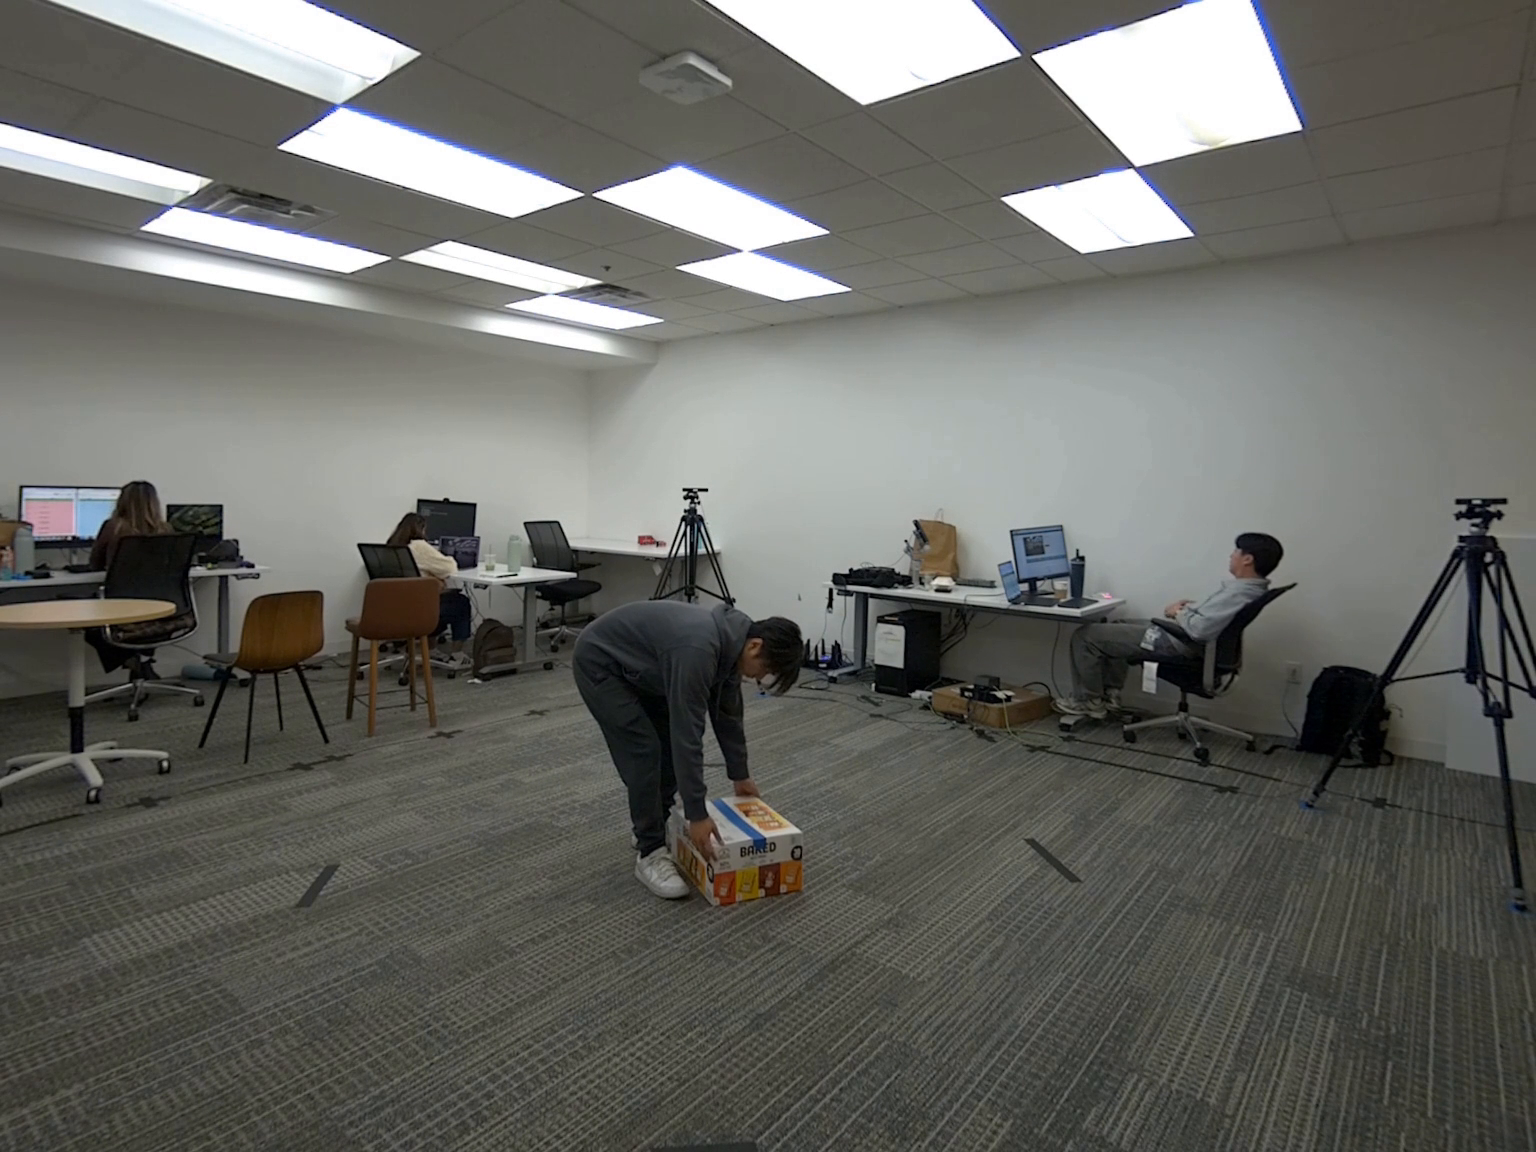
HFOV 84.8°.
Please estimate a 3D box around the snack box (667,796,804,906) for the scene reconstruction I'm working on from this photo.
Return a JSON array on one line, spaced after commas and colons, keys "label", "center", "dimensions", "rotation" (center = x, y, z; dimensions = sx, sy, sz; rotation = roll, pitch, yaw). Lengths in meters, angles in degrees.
[{"label": "snack box", "center": [-0.131, 0.970, 3.070], "dimensions": [0.332, 0.205, 0.416], "rotation": [-1, 5, -26]}]
